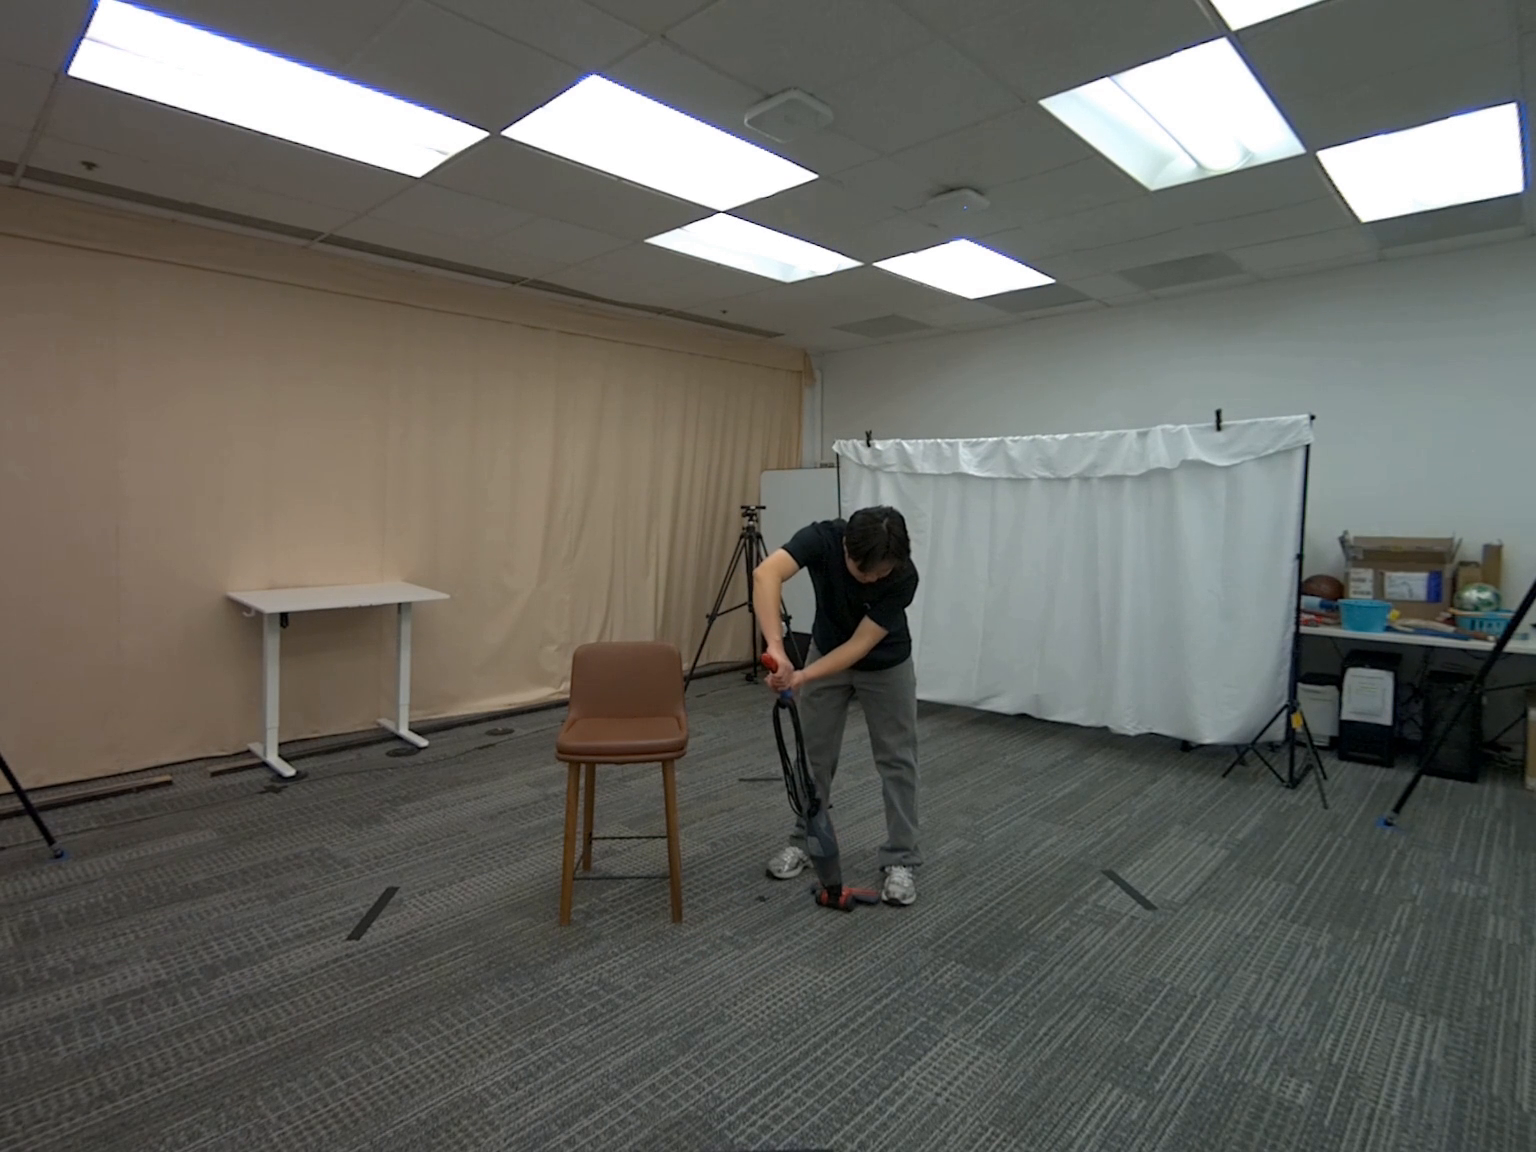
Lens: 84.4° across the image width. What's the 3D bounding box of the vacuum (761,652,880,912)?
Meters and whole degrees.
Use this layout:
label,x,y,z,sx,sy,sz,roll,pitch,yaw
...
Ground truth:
label,x,y,z,sx,sy,sz,roll,pitch,yaw
vacuum,0.127,0.701,2.742,0.259,1.027,0.143,-2,30,28
